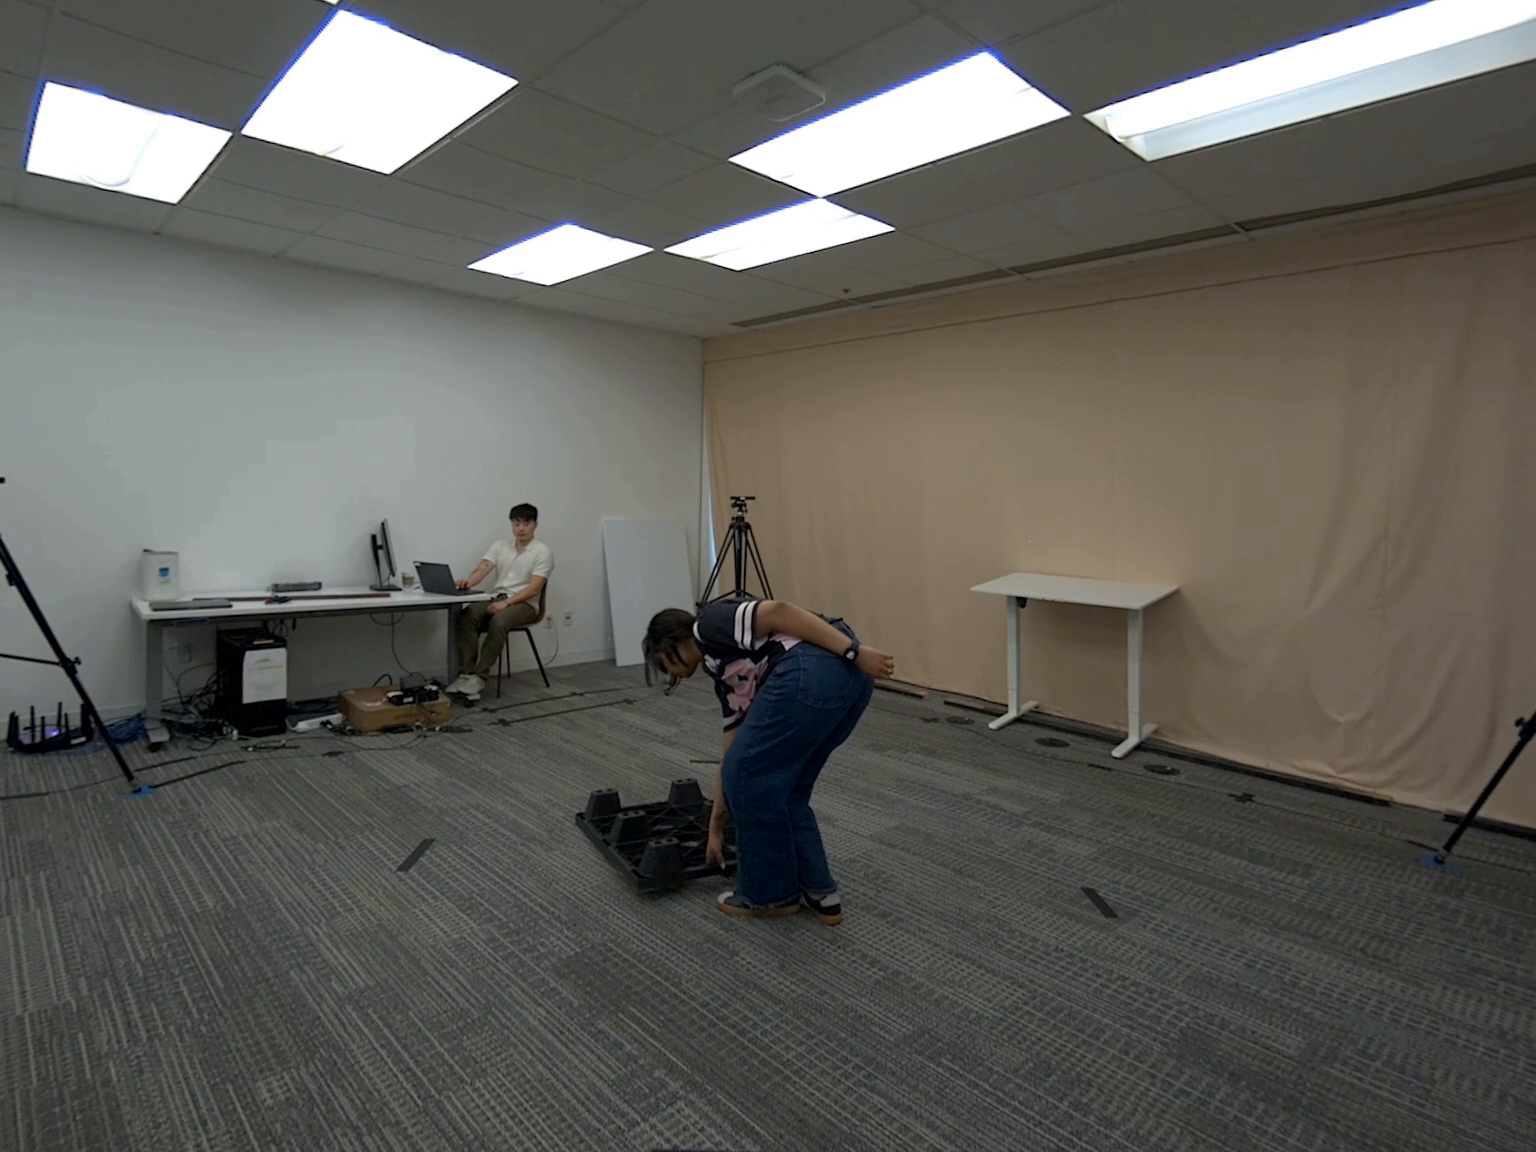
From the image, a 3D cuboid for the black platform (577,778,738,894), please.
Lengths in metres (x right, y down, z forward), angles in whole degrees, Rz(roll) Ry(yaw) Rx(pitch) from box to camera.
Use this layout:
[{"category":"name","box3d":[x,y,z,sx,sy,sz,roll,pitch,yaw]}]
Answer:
[{"category":"black platform","box3d":[-0.369,0.991,3.347,0.593,0.143,0.822,-2,3,-28]}]
